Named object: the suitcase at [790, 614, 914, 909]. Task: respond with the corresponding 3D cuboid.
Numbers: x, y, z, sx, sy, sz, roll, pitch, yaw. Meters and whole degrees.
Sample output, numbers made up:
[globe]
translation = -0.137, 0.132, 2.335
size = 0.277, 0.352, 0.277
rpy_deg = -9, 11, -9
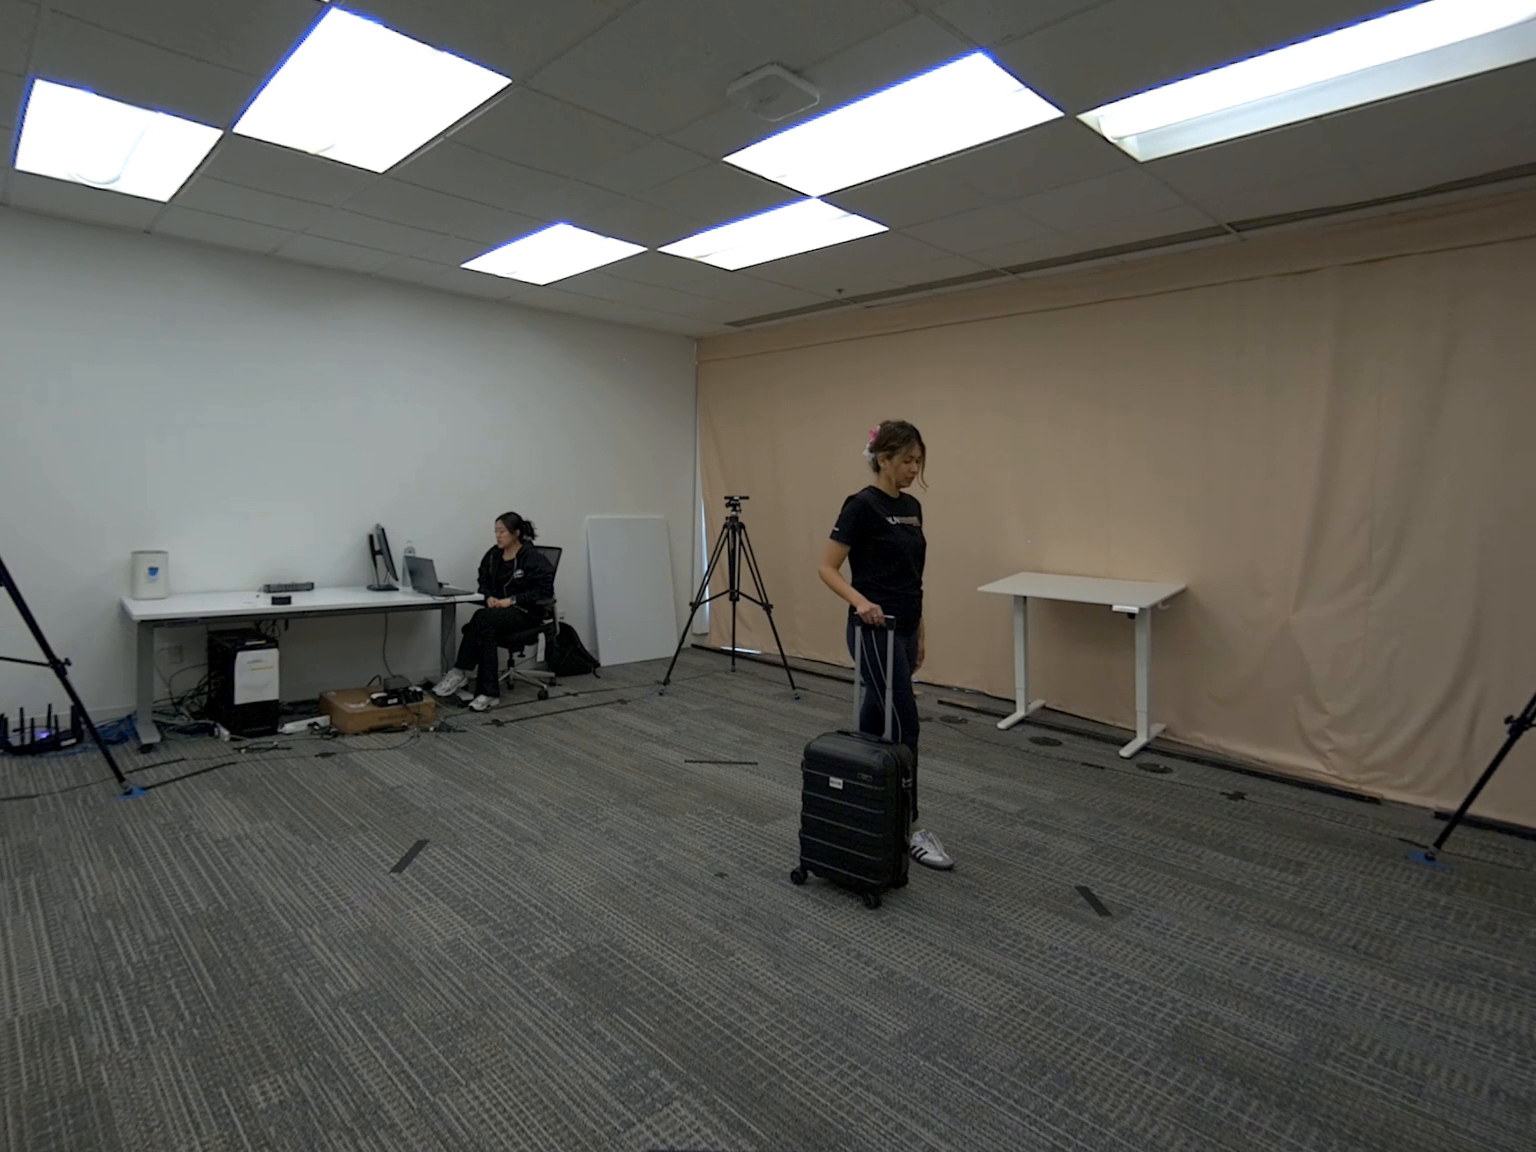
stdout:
[suitcase]
translation = 0.312, 0.647, 2.995
size = 0.393, 0.974, 0.252
rpy_deg = 6, 8, 36
